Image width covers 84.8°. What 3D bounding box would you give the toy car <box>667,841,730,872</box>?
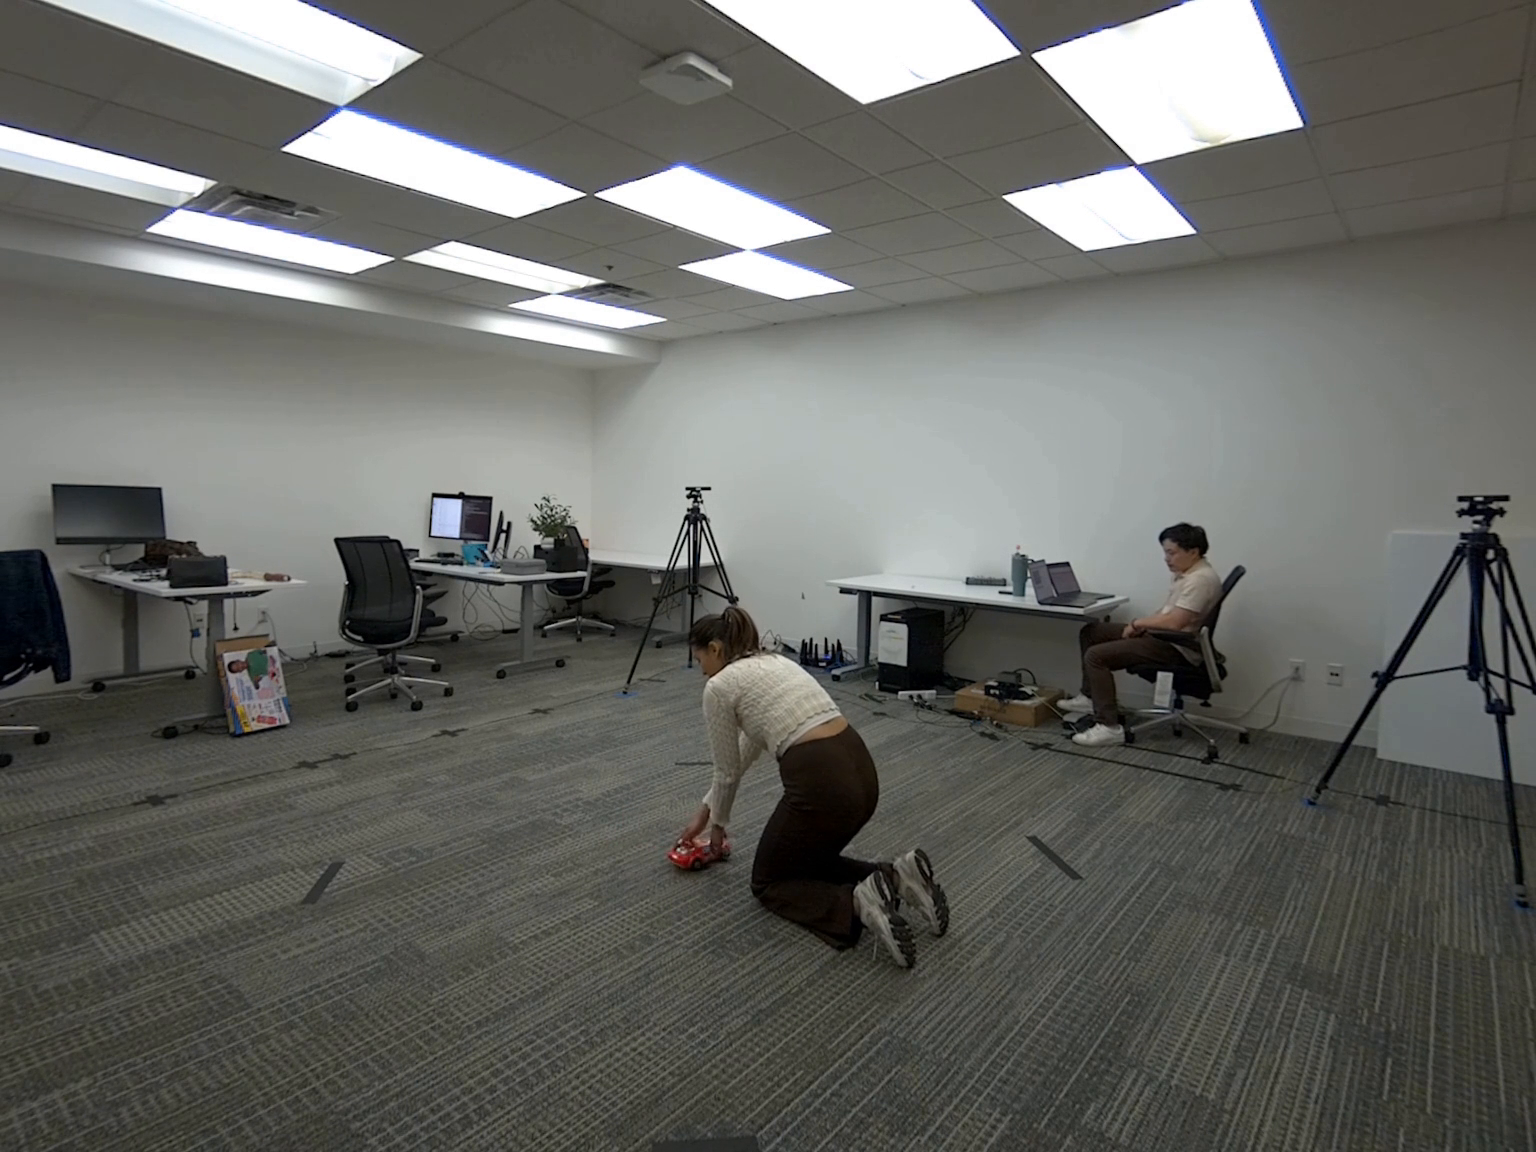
[{"bbox_3d":[-0.276,1.028,3.150,0.245,0.083,0.135,9,-3,-42],"label":"toy car"}]
